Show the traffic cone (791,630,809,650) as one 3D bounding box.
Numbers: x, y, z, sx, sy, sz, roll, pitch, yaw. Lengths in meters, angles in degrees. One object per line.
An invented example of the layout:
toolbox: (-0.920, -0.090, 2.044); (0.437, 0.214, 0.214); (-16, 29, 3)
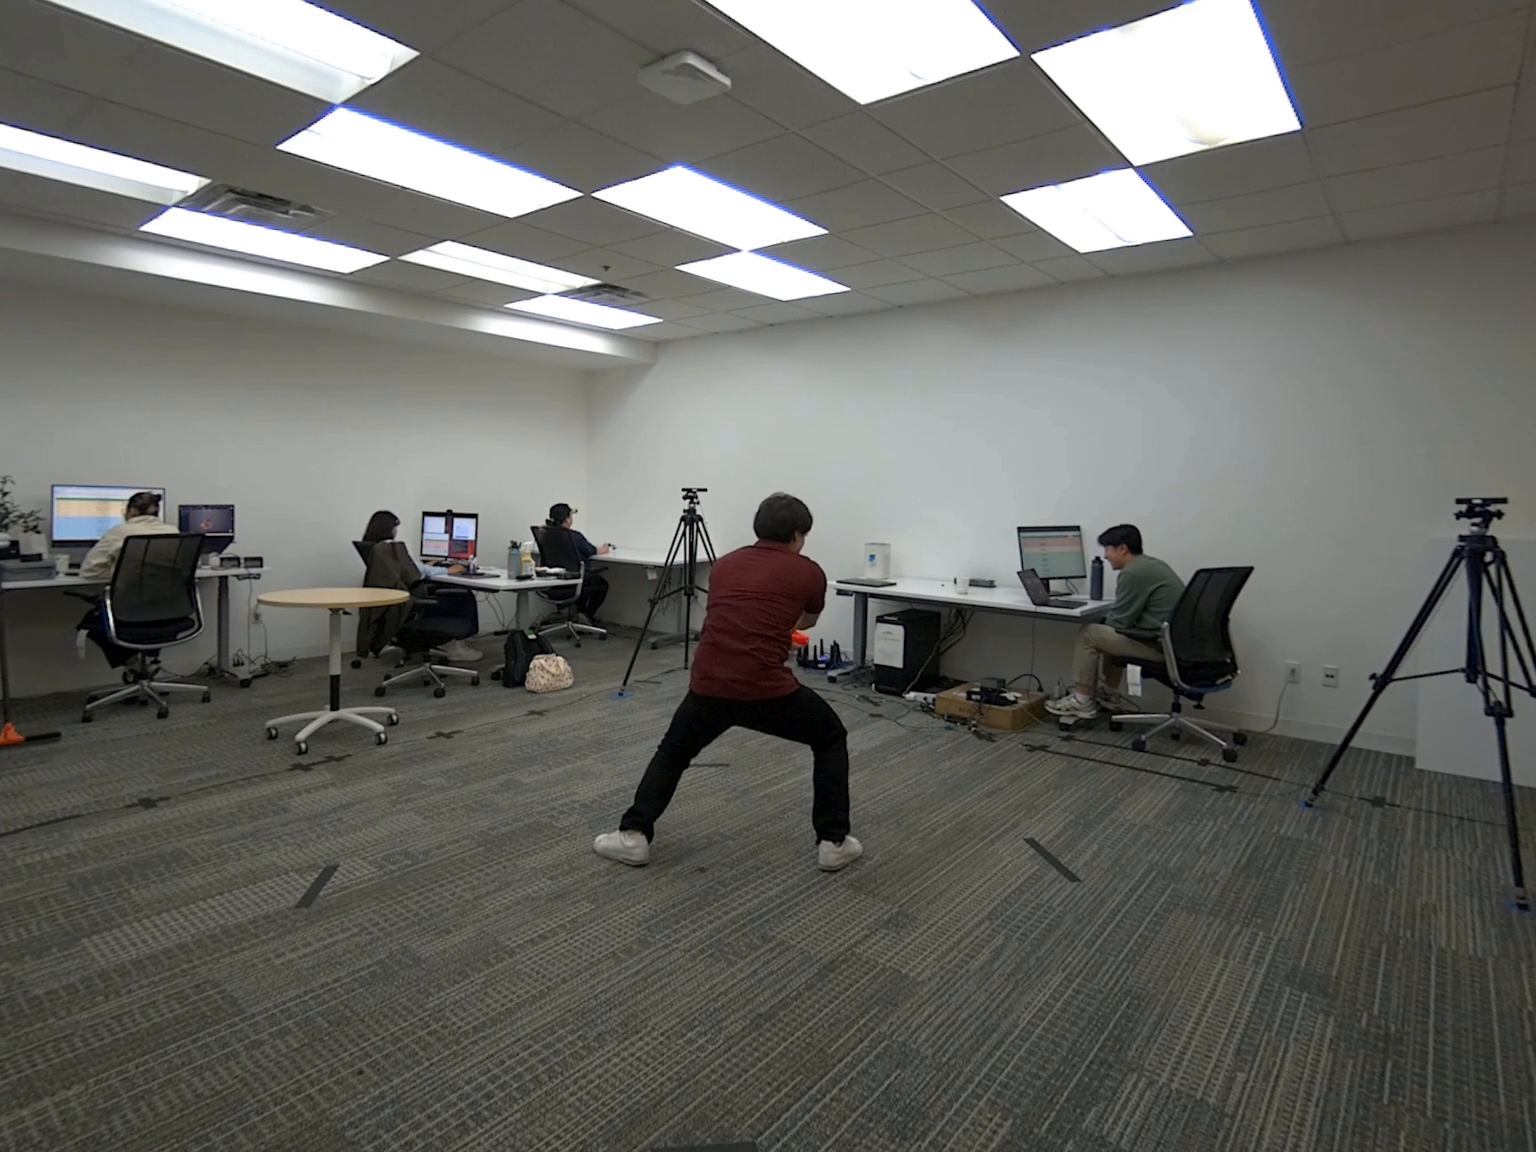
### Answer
traffic cone: (-0.002, 0.248, 3.704); (0.397, 0.203, 0.198); (6, 3, 39)
